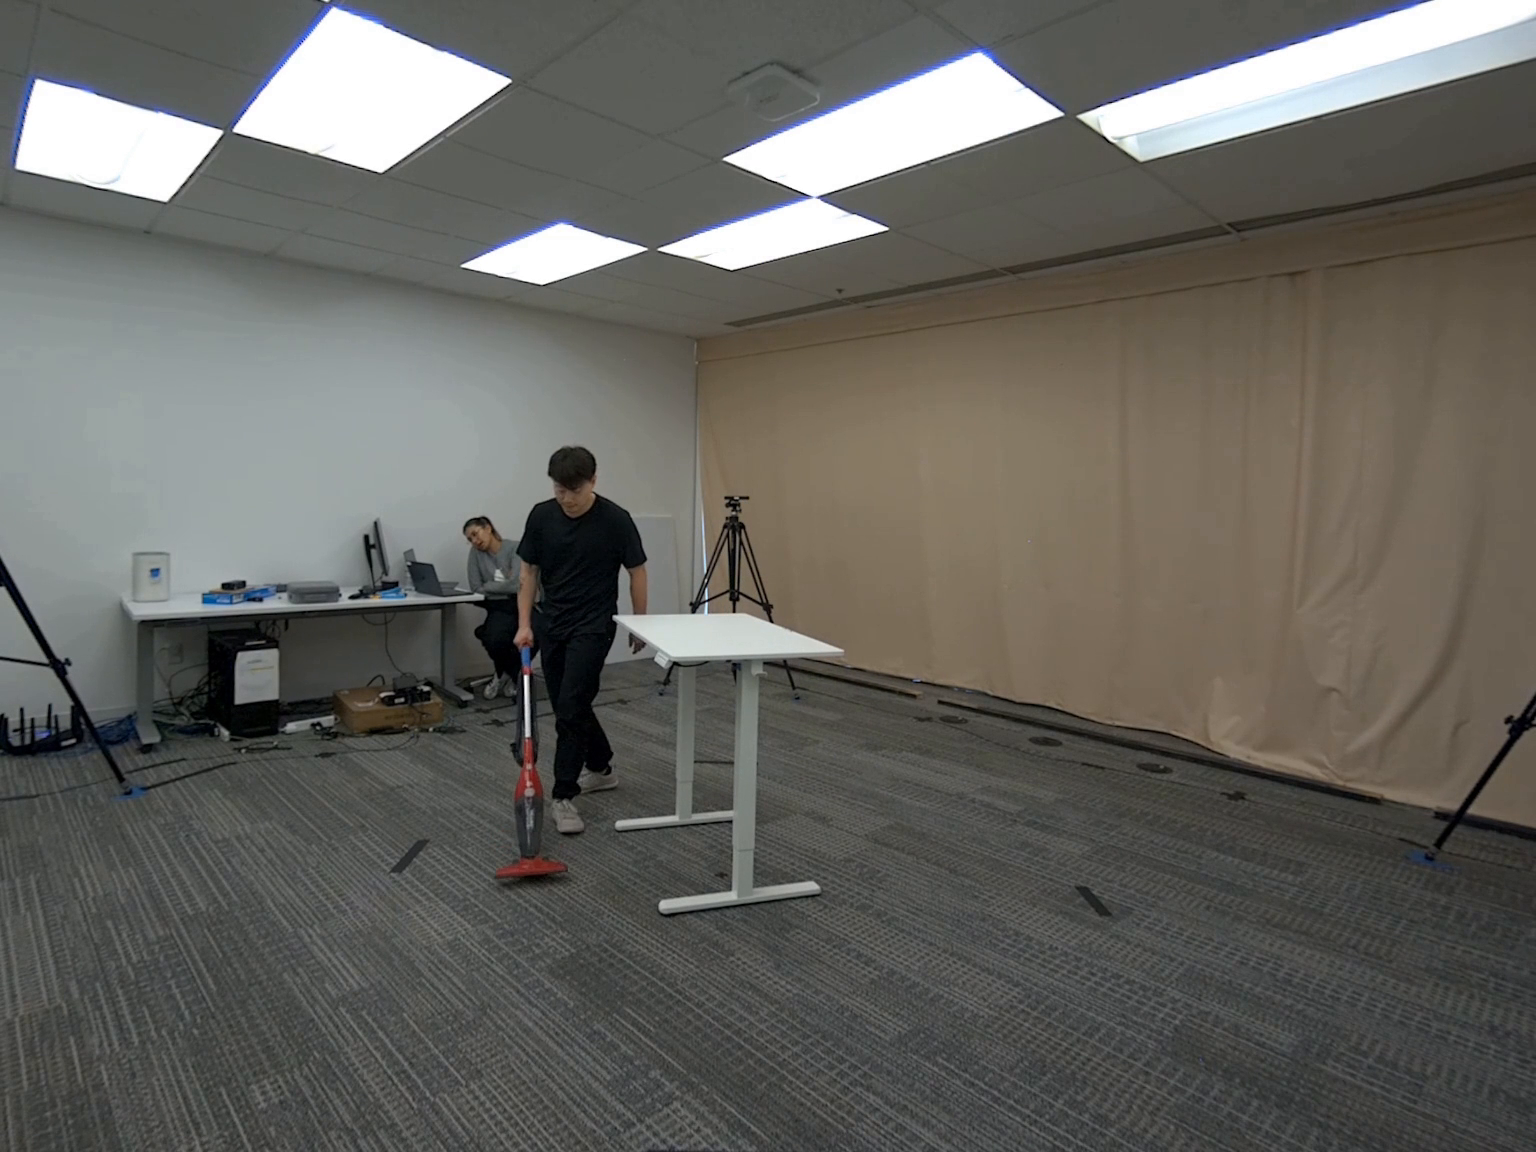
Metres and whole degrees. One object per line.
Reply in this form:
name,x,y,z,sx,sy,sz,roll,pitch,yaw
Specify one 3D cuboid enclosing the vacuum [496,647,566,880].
vacuum,-0.974,0.678,3.373,0.249,0.142,1.078,0,48,-17
